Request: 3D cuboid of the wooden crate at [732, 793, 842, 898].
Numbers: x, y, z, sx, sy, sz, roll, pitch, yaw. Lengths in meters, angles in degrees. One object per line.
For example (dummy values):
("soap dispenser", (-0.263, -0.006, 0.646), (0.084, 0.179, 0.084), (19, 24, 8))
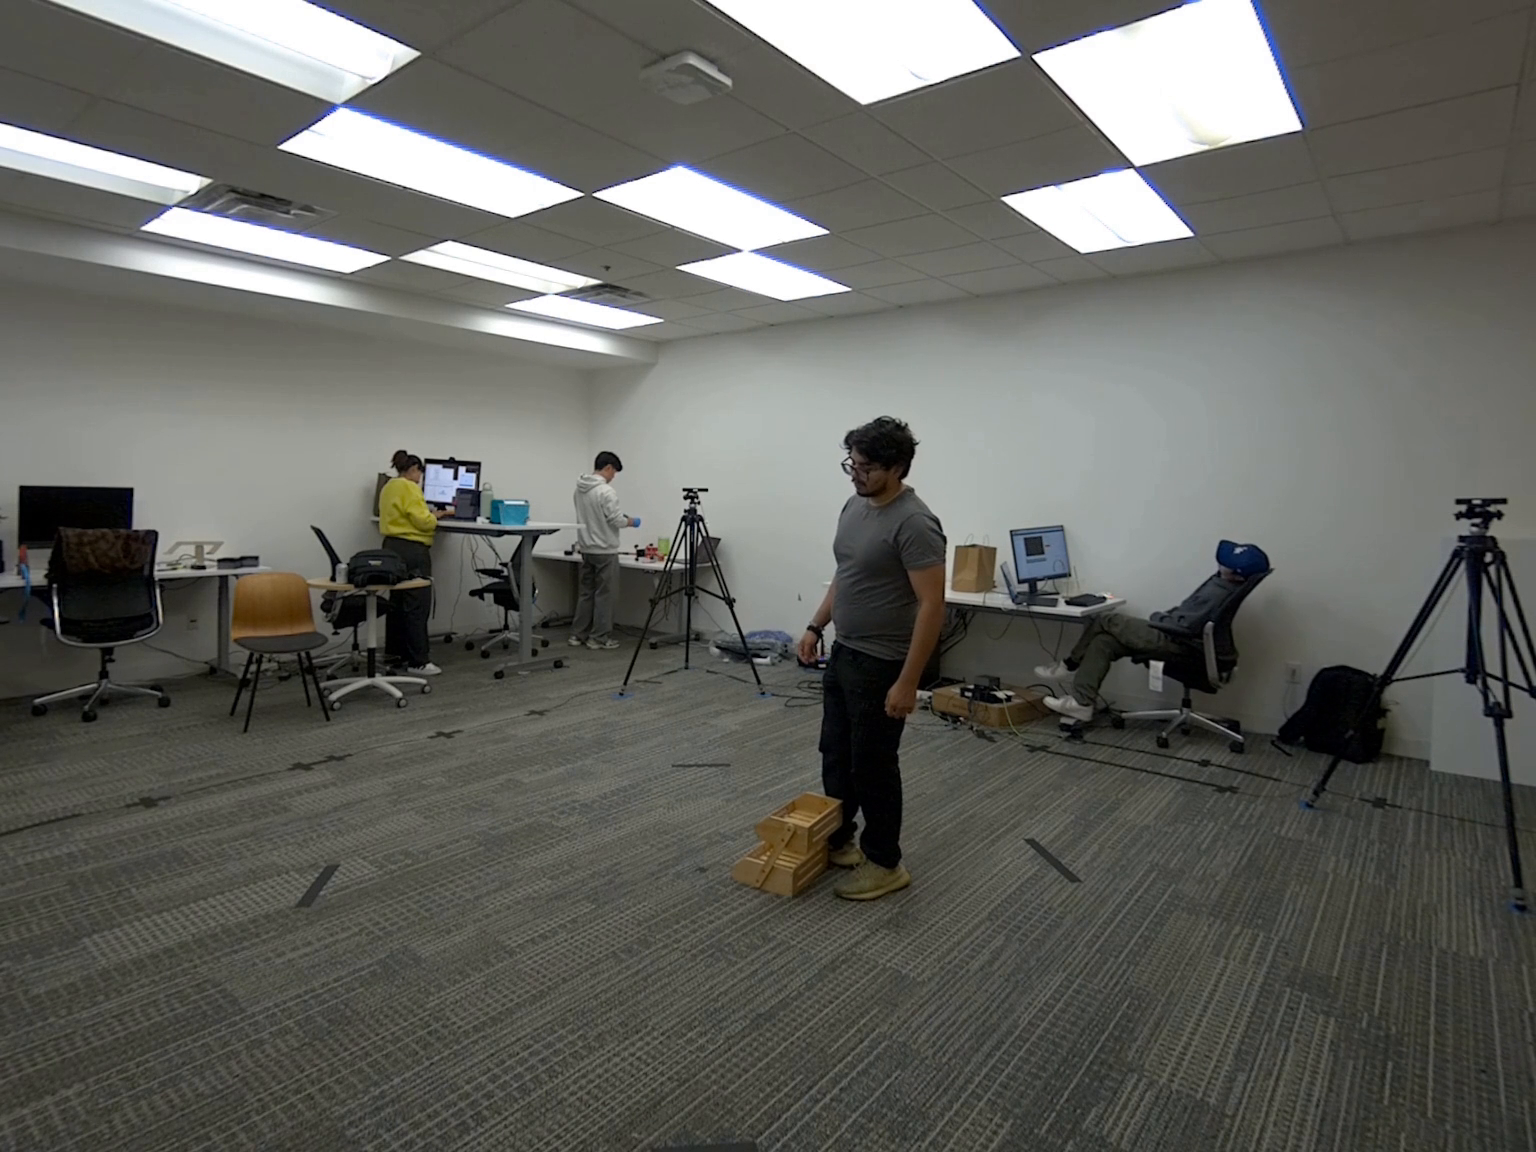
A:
("wooden crate", (0.058, 0.944, 3.078), (0.311, 0.272, 0.316), (5, 5, 30))
